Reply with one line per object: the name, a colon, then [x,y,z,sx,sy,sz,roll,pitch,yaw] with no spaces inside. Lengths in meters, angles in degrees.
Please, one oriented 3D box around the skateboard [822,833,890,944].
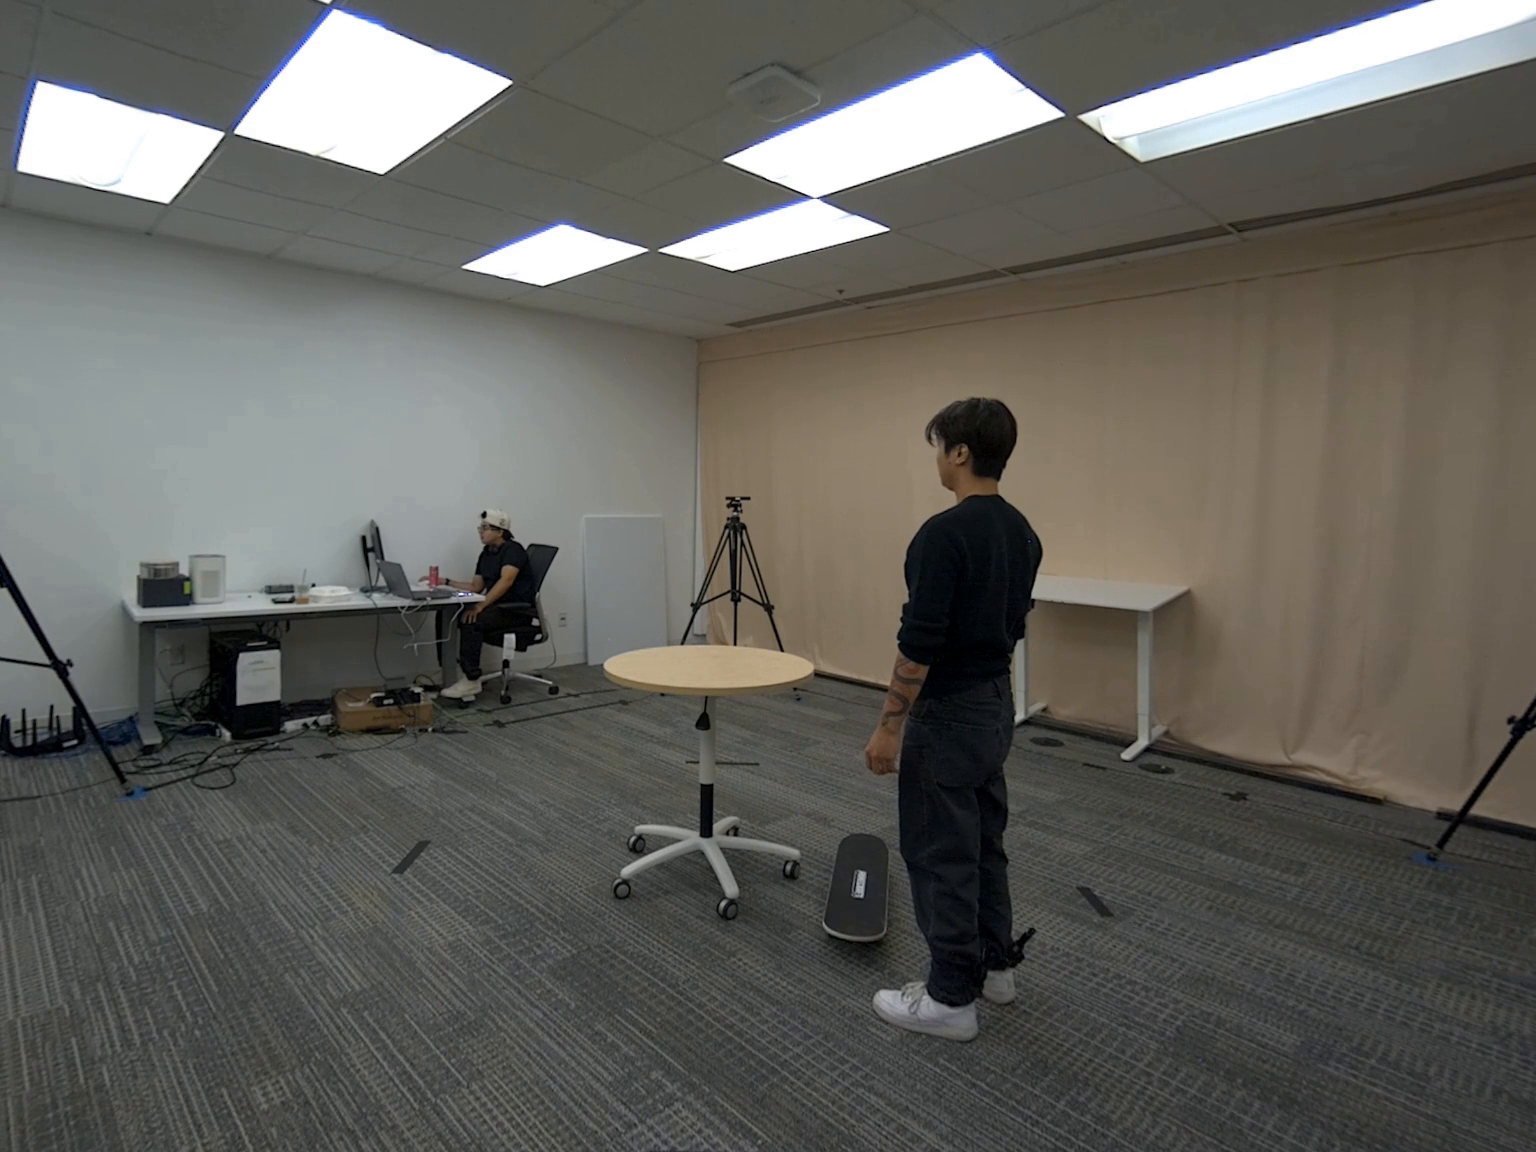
skateboard: [0.304,1.080,2.868,0.195,0.110,0.781,2,6,9]
